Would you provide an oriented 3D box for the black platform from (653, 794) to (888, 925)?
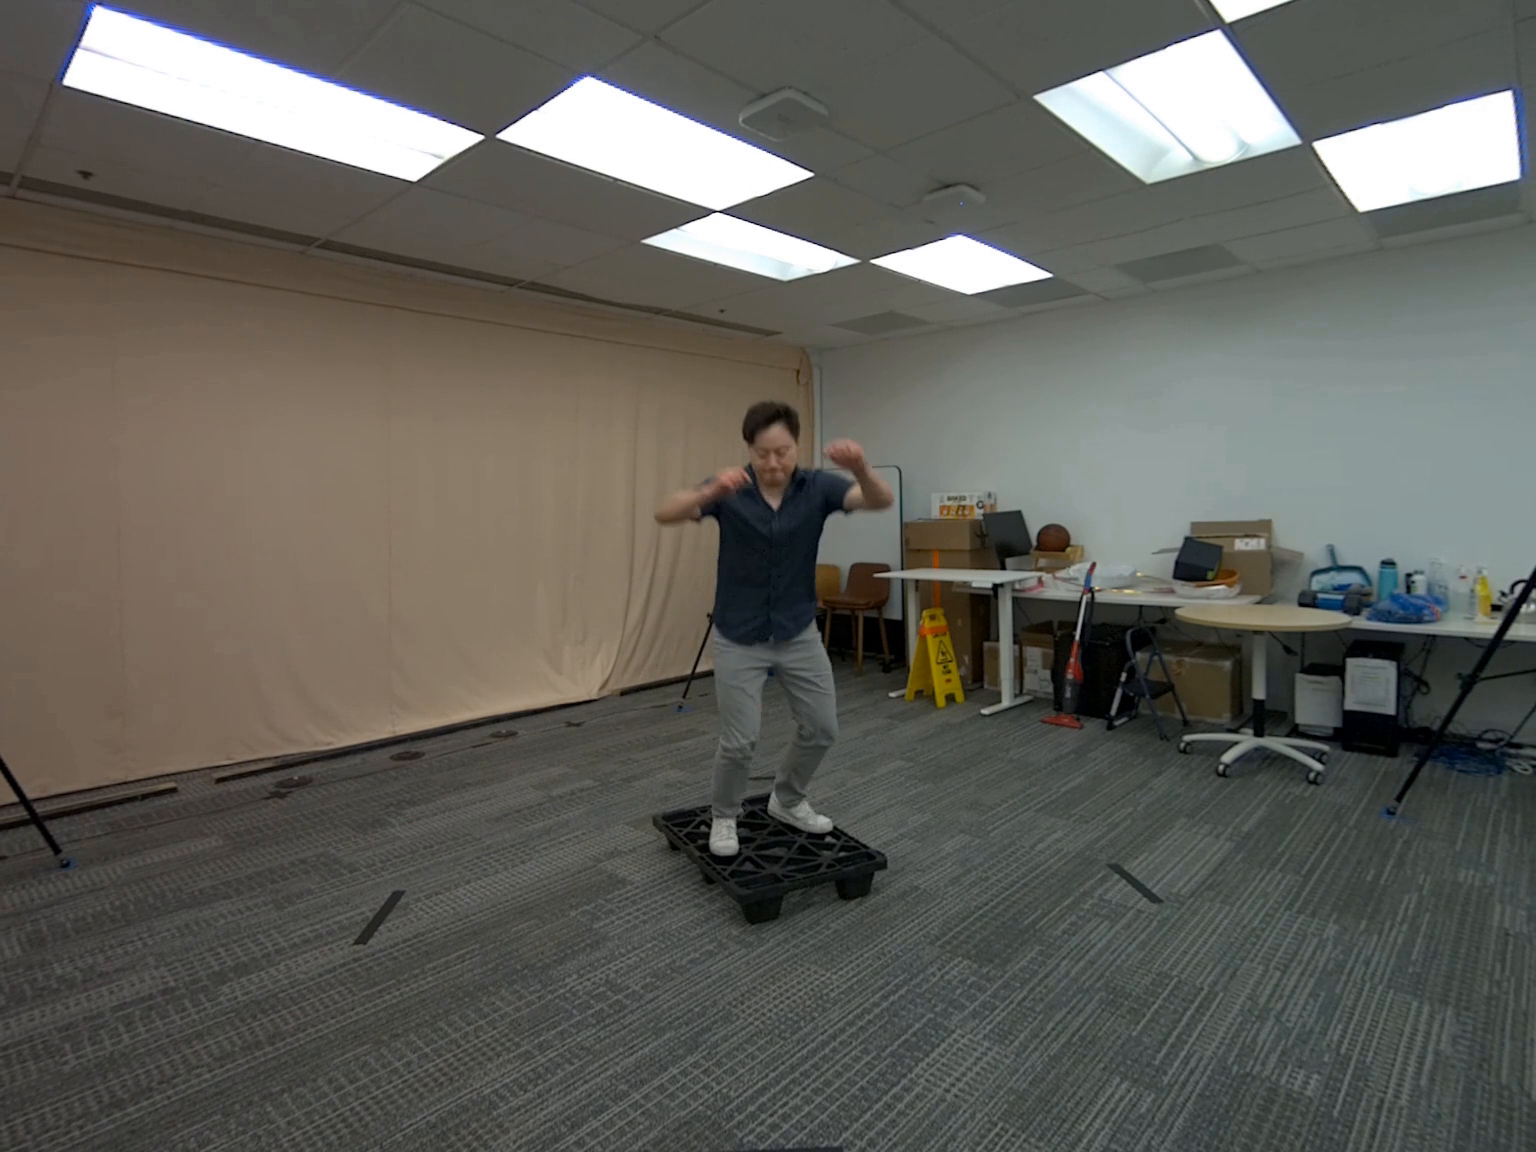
[{"bbox_3d":[-0.019,1.053,3.215,0.590,0.143,0.828,-3,5,-27],"label":"black platform"}]
